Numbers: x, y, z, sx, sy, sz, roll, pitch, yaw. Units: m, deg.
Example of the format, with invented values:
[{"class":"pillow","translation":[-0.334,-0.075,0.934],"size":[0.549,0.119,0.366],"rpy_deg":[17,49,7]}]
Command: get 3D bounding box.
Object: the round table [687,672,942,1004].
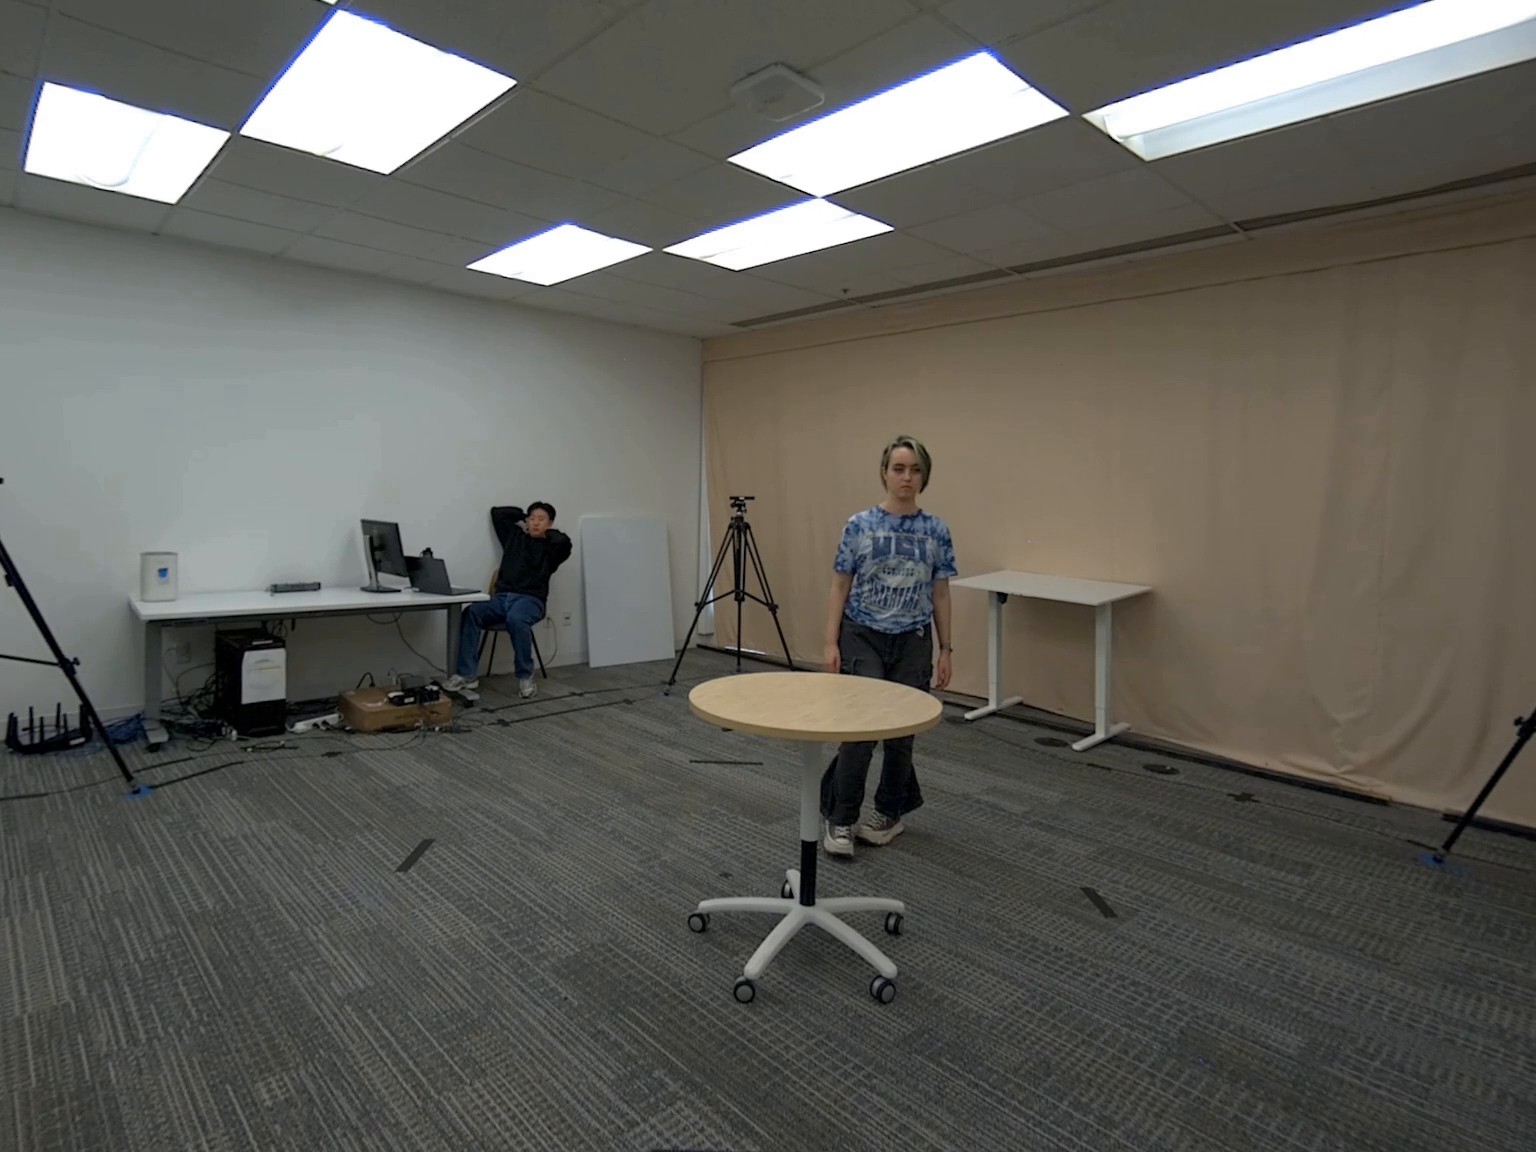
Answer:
[{"class":"round table","translation":[0.119,0.768,2.597],"size":[0.763,0.792,0.767],"rpy_deg":[1,4,-1]}]
